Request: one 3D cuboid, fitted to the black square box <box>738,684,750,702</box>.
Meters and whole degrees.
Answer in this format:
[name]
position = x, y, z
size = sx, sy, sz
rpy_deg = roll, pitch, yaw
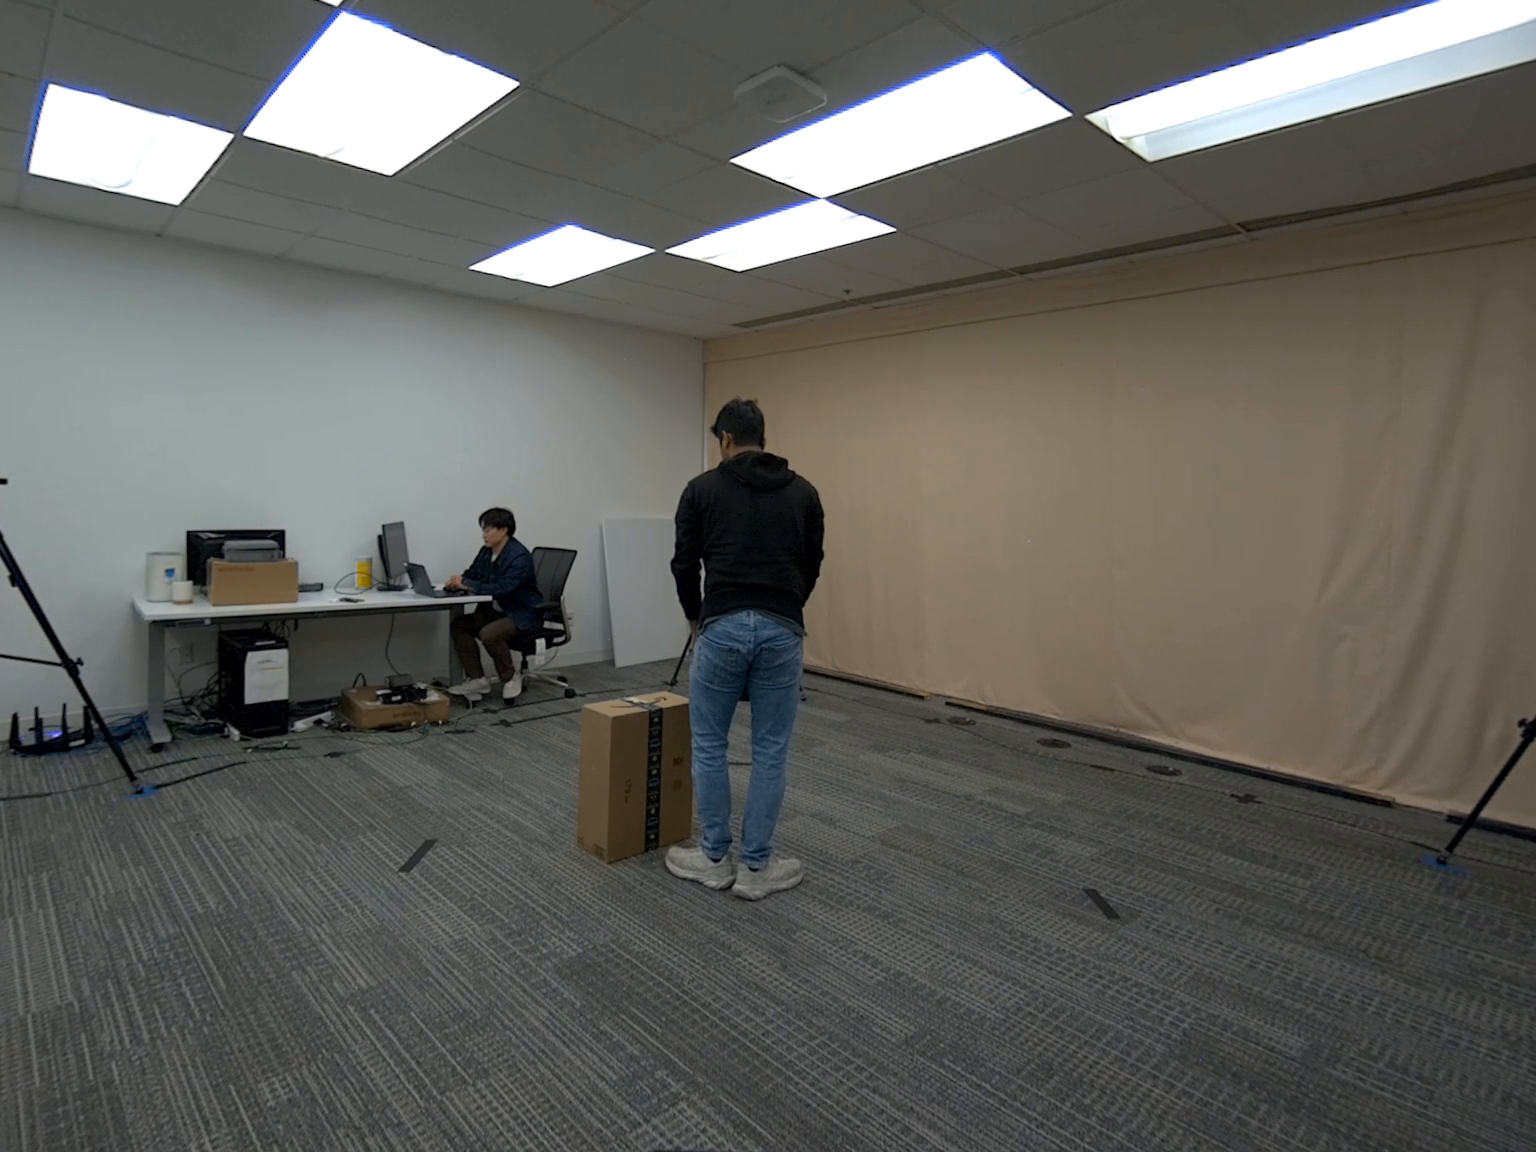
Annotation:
[black square box]
position = -0.162, 0.394, 3.302
size = 0.227, 0.155, 0.219
rpy_deg = 3, 9, -4
